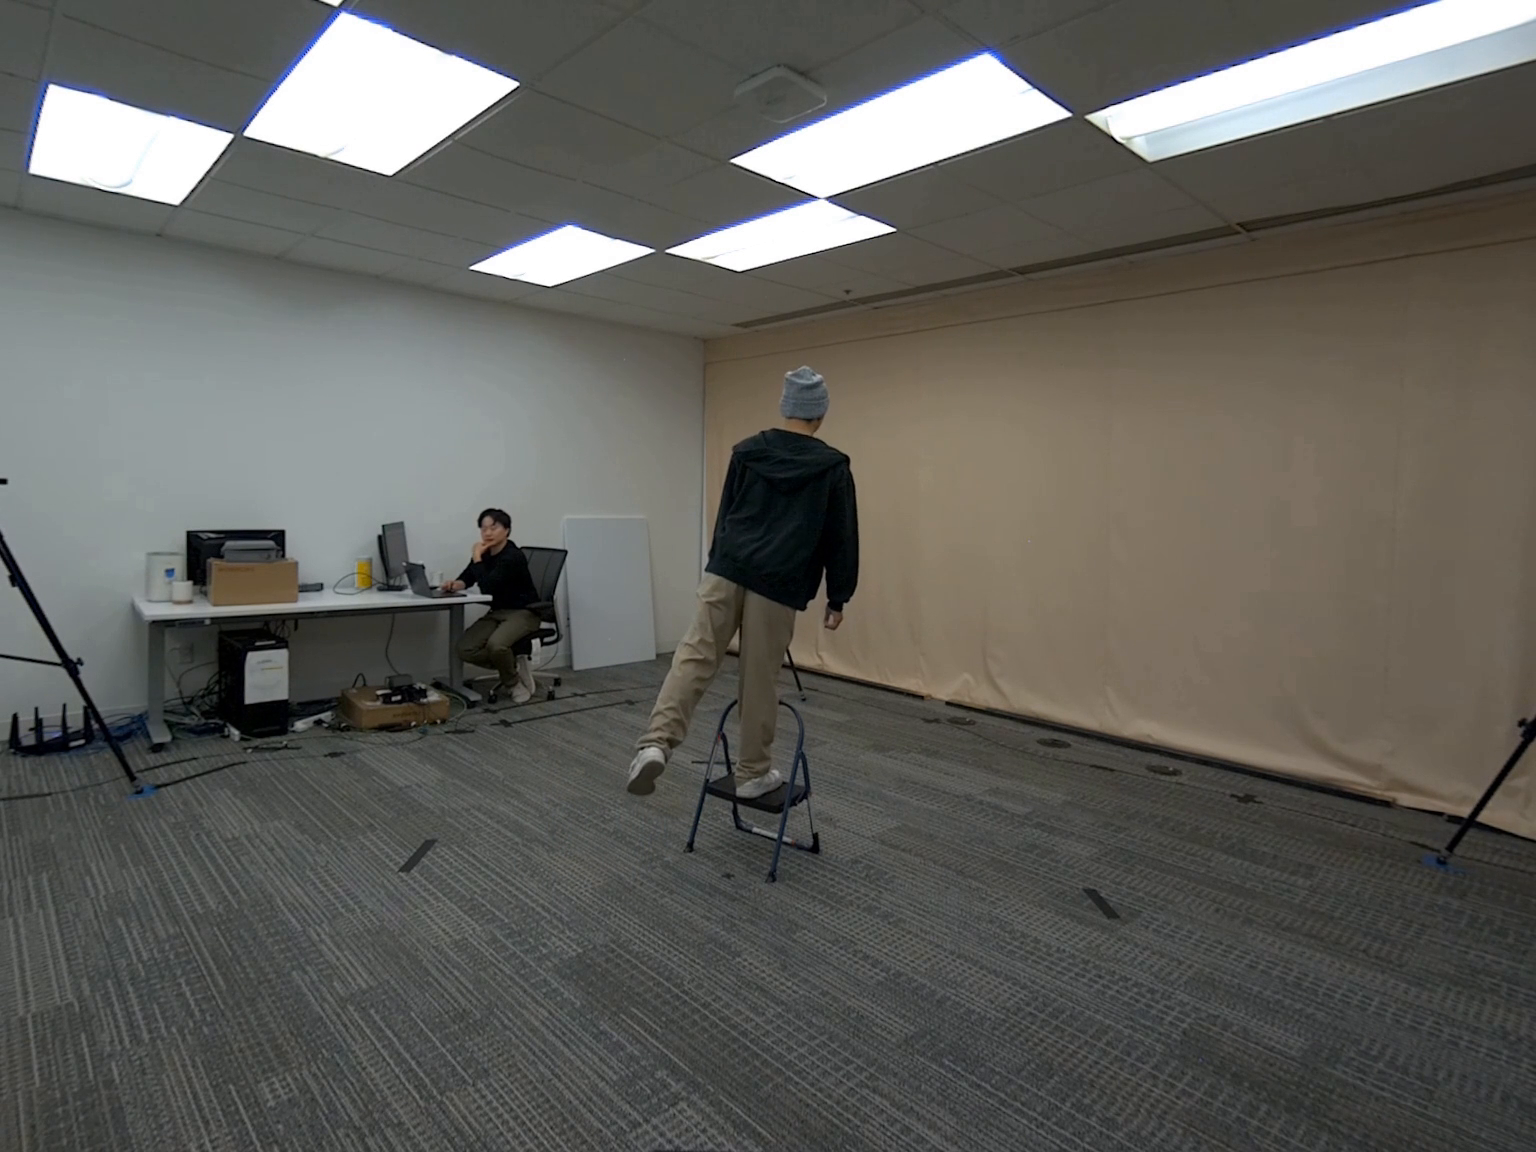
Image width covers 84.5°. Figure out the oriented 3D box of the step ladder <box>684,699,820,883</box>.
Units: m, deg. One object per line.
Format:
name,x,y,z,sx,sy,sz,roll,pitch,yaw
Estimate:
step ladder,-0.057,0.790,3.307,0.441,0.605,0.342,4,4,36
